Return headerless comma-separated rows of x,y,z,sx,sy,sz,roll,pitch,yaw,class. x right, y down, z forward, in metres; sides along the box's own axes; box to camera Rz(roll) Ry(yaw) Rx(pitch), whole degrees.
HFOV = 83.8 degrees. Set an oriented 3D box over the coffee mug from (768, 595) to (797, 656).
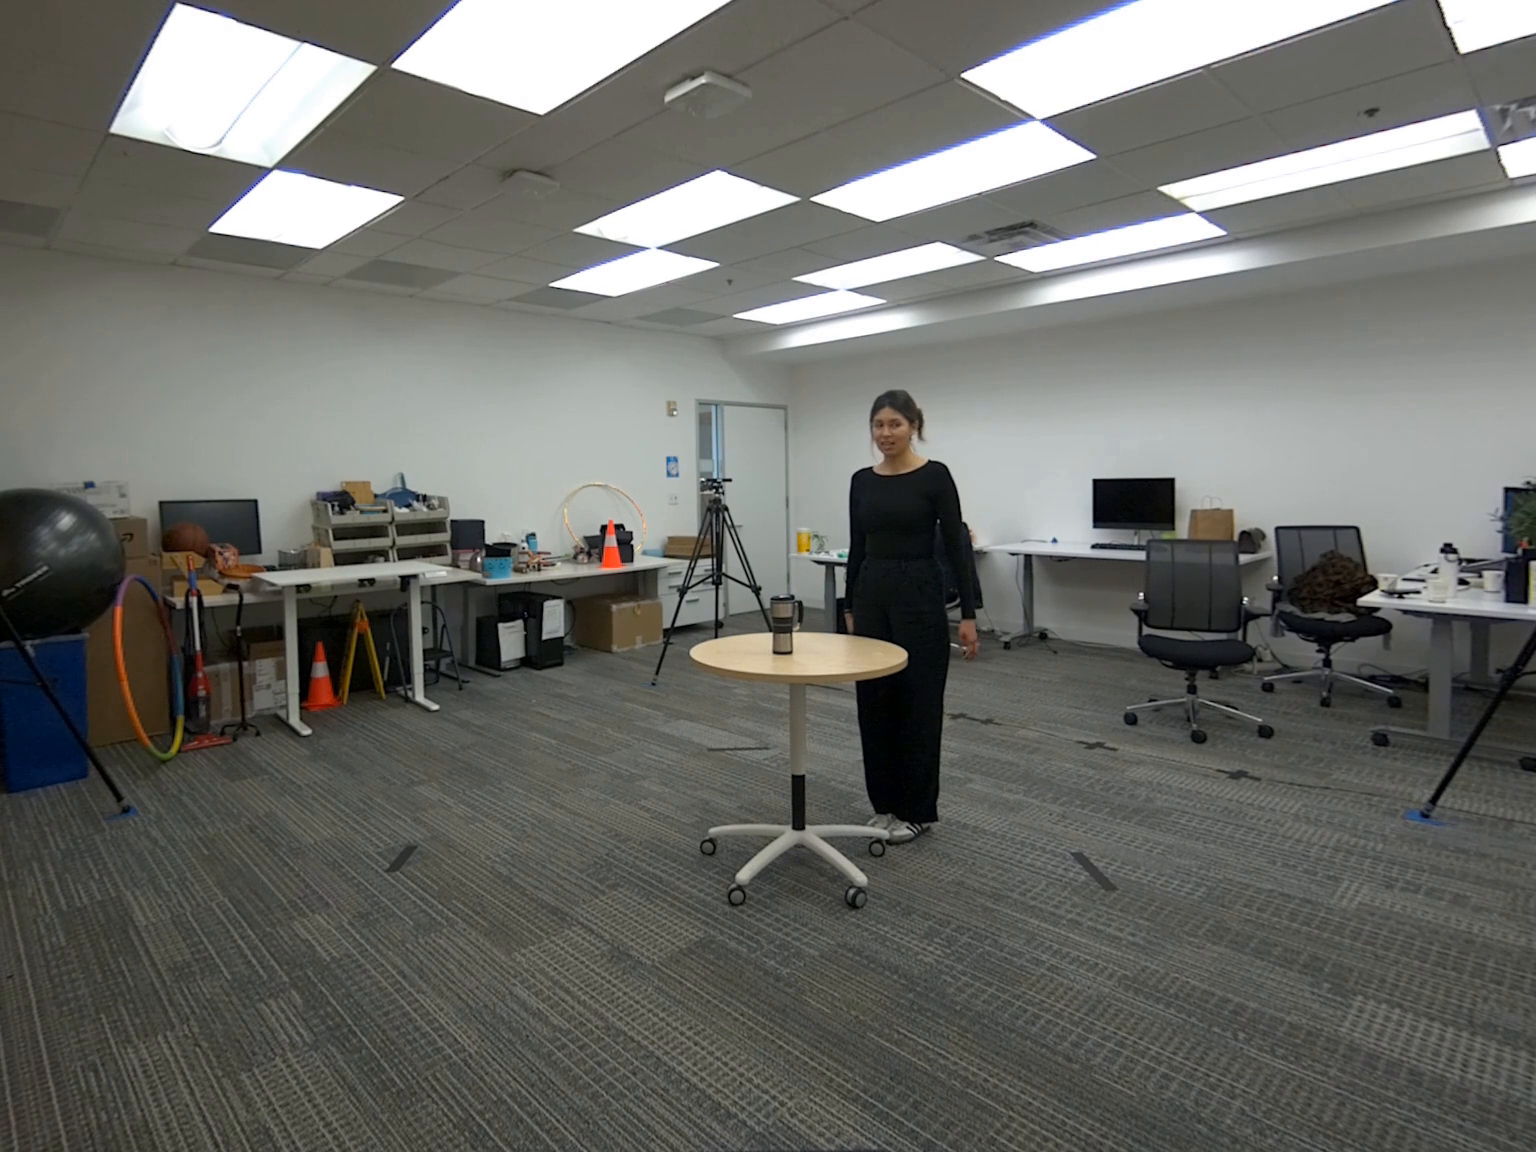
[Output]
0.075,0.174,2.982,0.124,0.203,0.086,0,0,15,coffee mug
